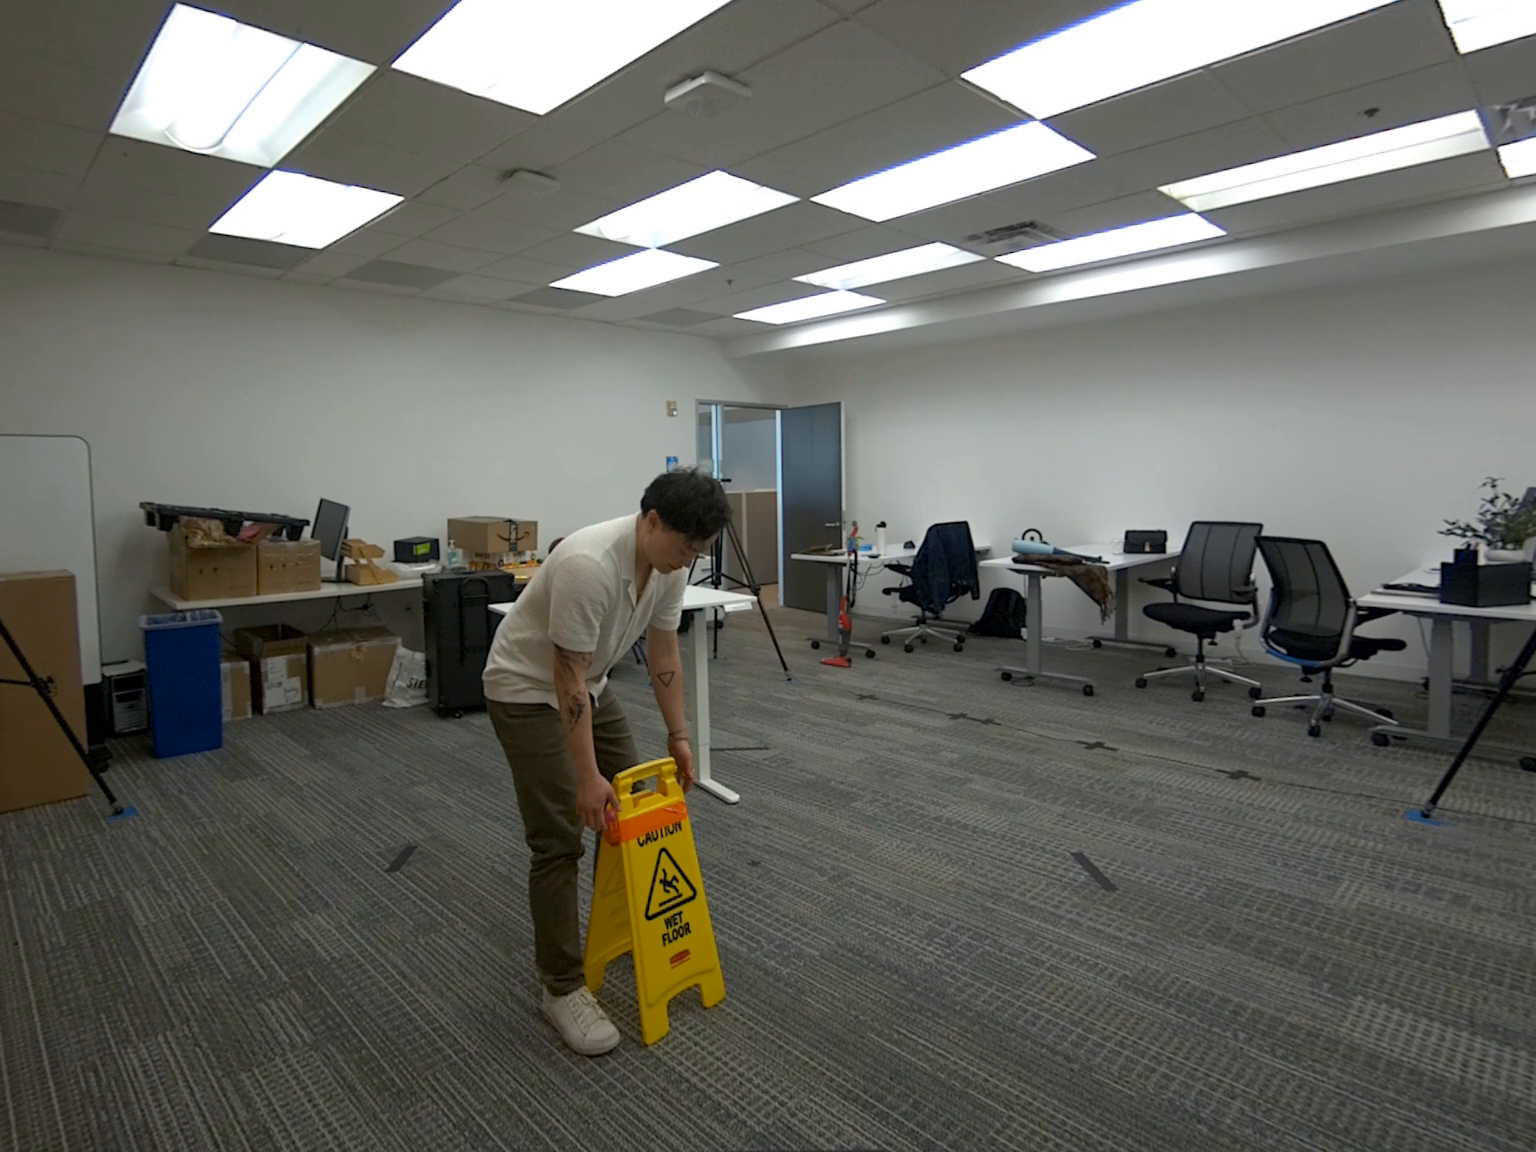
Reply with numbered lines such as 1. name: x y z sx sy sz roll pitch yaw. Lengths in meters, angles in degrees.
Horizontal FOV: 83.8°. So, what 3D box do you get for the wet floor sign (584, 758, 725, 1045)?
1. wet floor sign: -0.319 0.827 2.296 0.298 0.643 0.275 3 6 43
